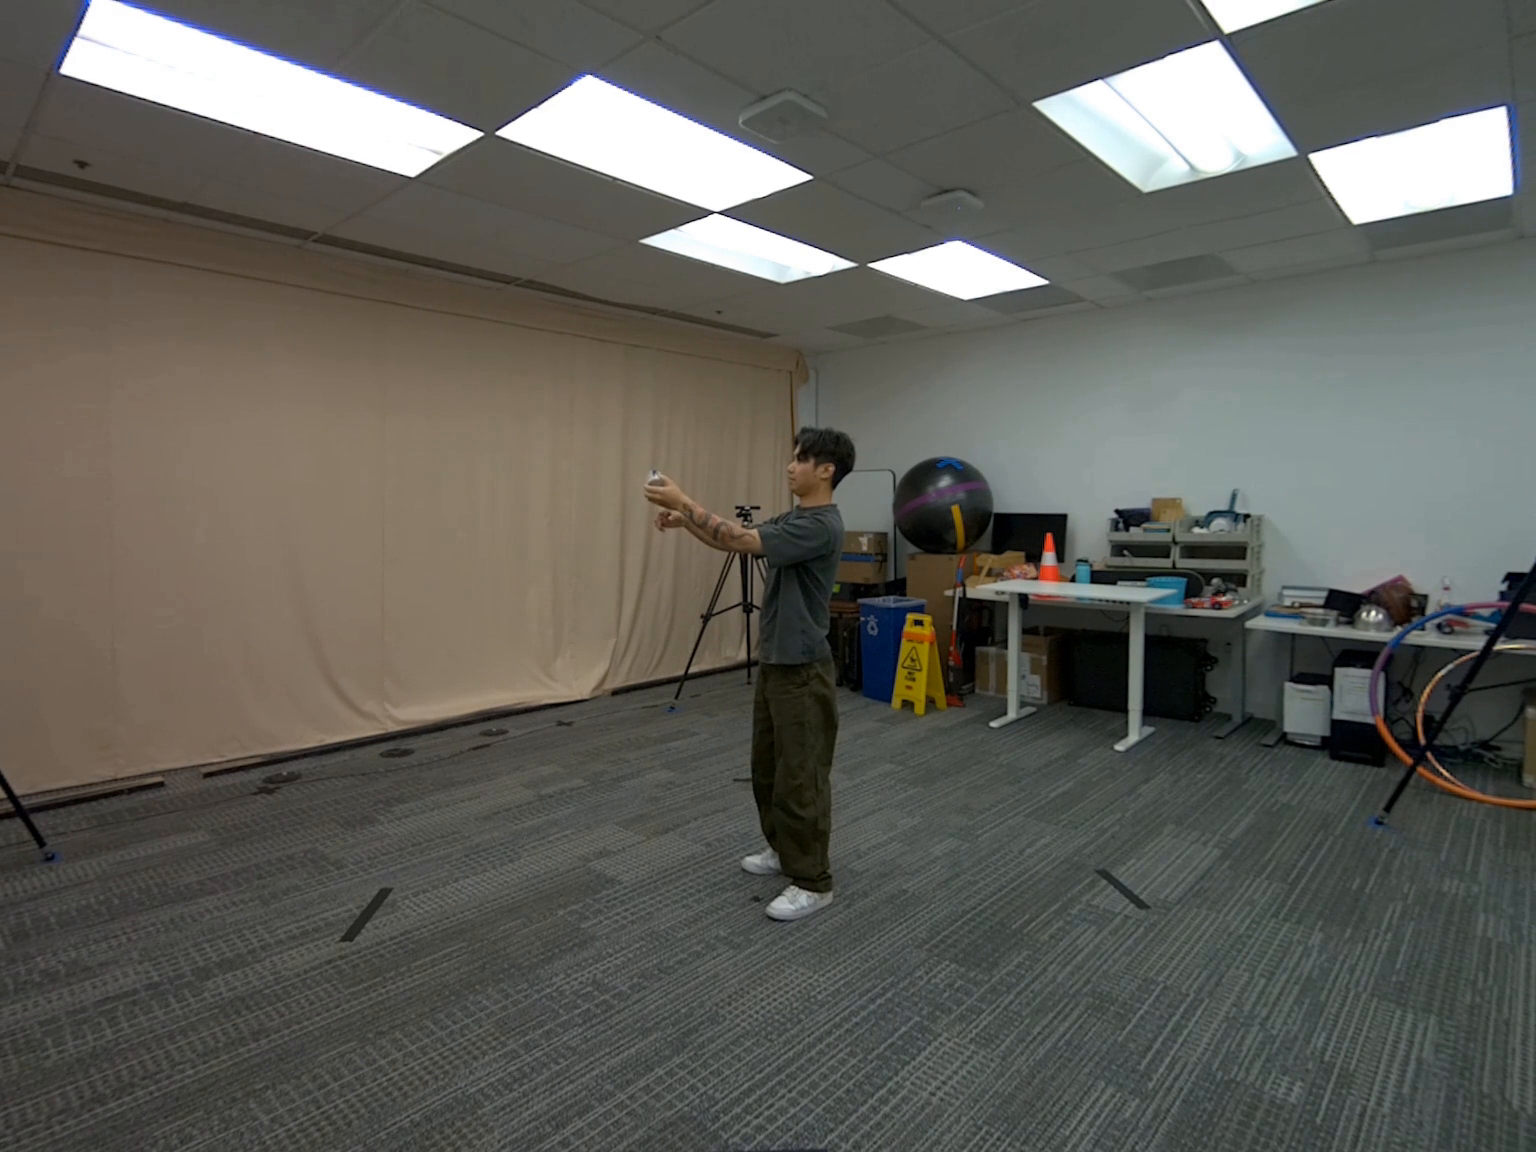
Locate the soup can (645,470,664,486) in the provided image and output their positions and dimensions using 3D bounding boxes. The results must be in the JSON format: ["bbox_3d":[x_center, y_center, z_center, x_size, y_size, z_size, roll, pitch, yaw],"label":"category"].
[{"bbox_3d":[-0.389,-0.326,2.893,0.067,0.066,0.123,0,19,-3],"label":"soup can"}]
